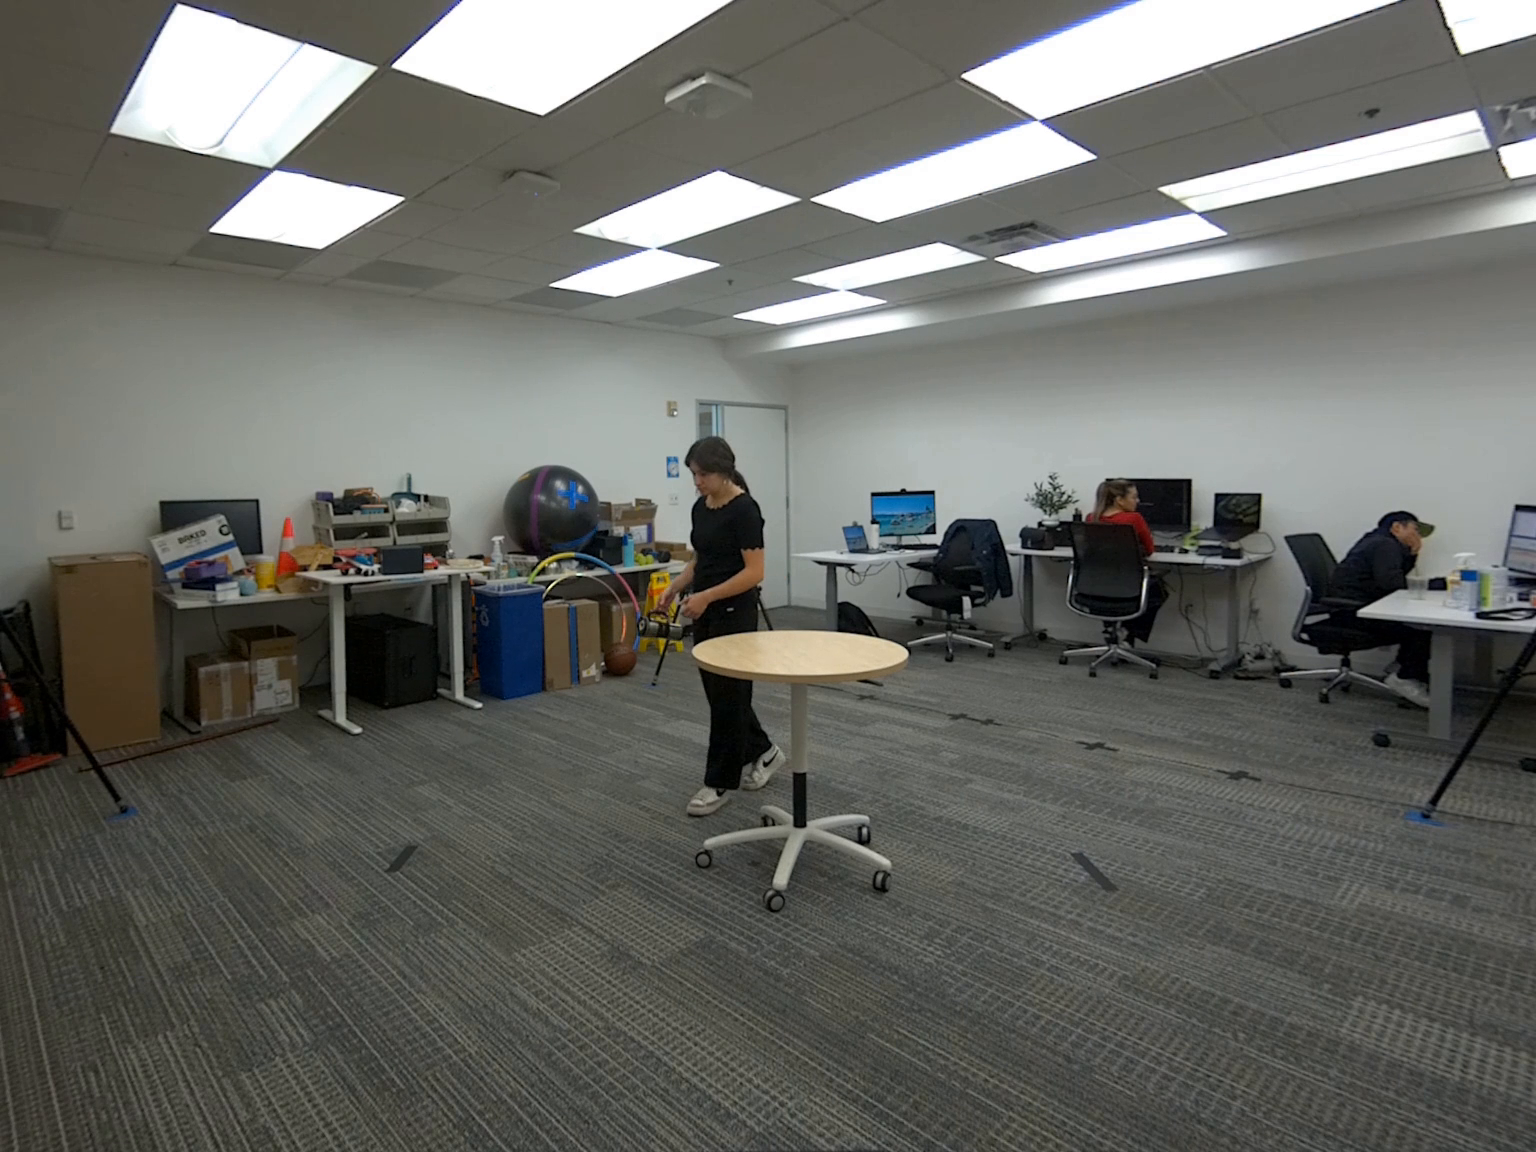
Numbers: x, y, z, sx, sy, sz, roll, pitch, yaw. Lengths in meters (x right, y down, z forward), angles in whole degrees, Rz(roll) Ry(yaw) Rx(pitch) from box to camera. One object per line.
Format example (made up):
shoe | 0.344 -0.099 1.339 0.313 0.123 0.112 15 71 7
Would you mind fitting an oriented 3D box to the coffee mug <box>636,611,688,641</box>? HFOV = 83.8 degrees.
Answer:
coffee mug | -0.440 0.215 3.659 0.197 0.121 0.091 13 38 -27
